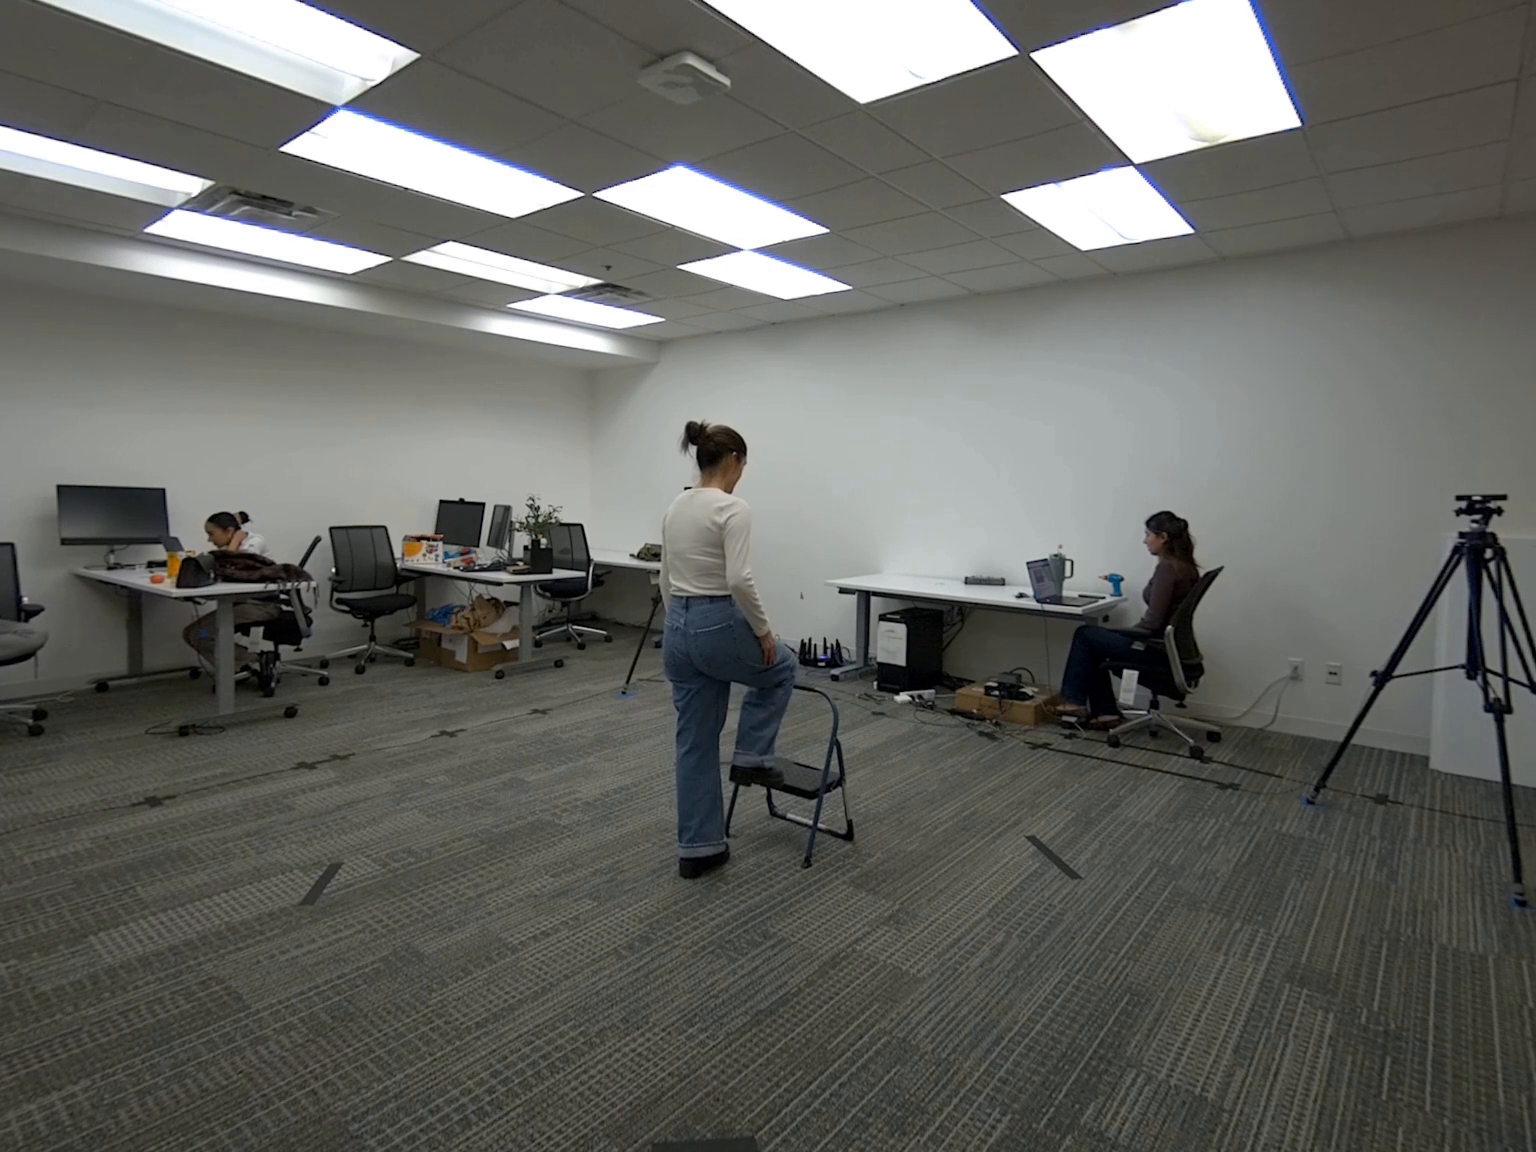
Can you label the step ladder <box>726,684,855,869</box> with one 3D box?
[{"bbox_3d":[0.076,0.739,3.371,0.445,0.604,0.339,4,5,38],"label":"step ladder"}]
